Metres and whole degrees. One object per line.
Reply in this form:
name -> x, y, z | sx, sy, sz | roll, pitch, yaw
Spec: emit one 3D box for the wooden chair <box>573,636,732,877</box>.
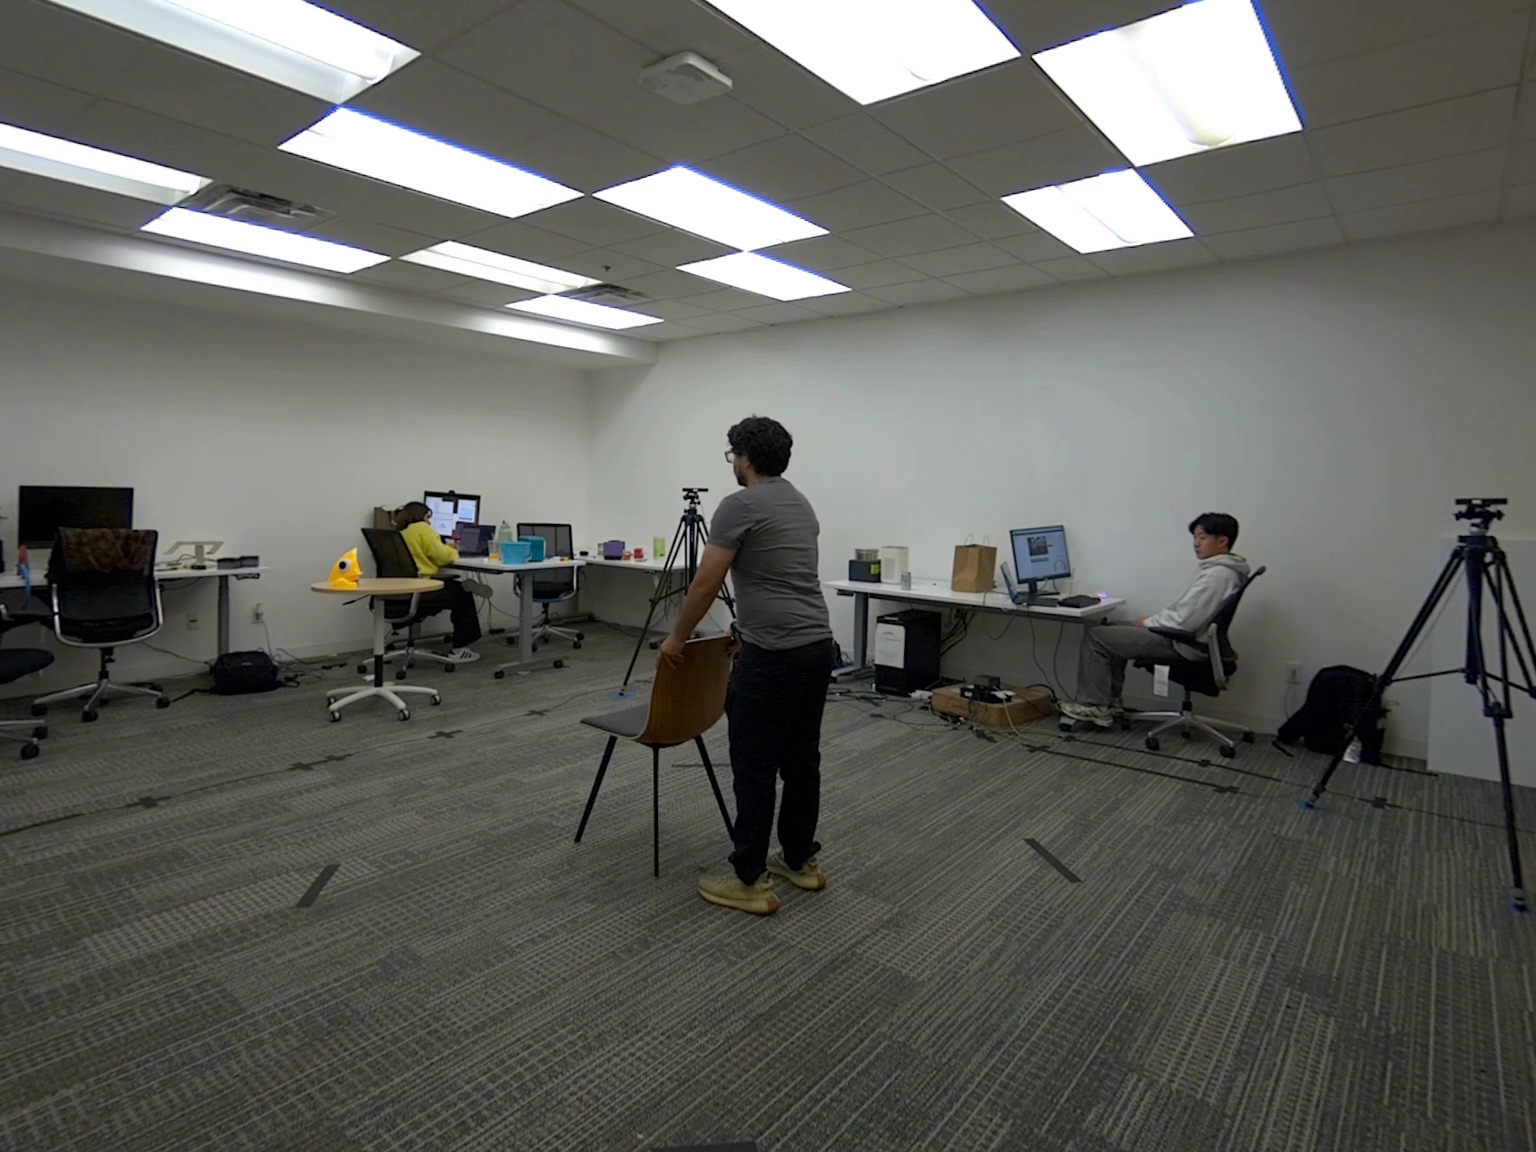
wooden chair -> -0.451, 0.616, 3.328 | 0.542, 0.873, 0.464 | 10, 8, 39
